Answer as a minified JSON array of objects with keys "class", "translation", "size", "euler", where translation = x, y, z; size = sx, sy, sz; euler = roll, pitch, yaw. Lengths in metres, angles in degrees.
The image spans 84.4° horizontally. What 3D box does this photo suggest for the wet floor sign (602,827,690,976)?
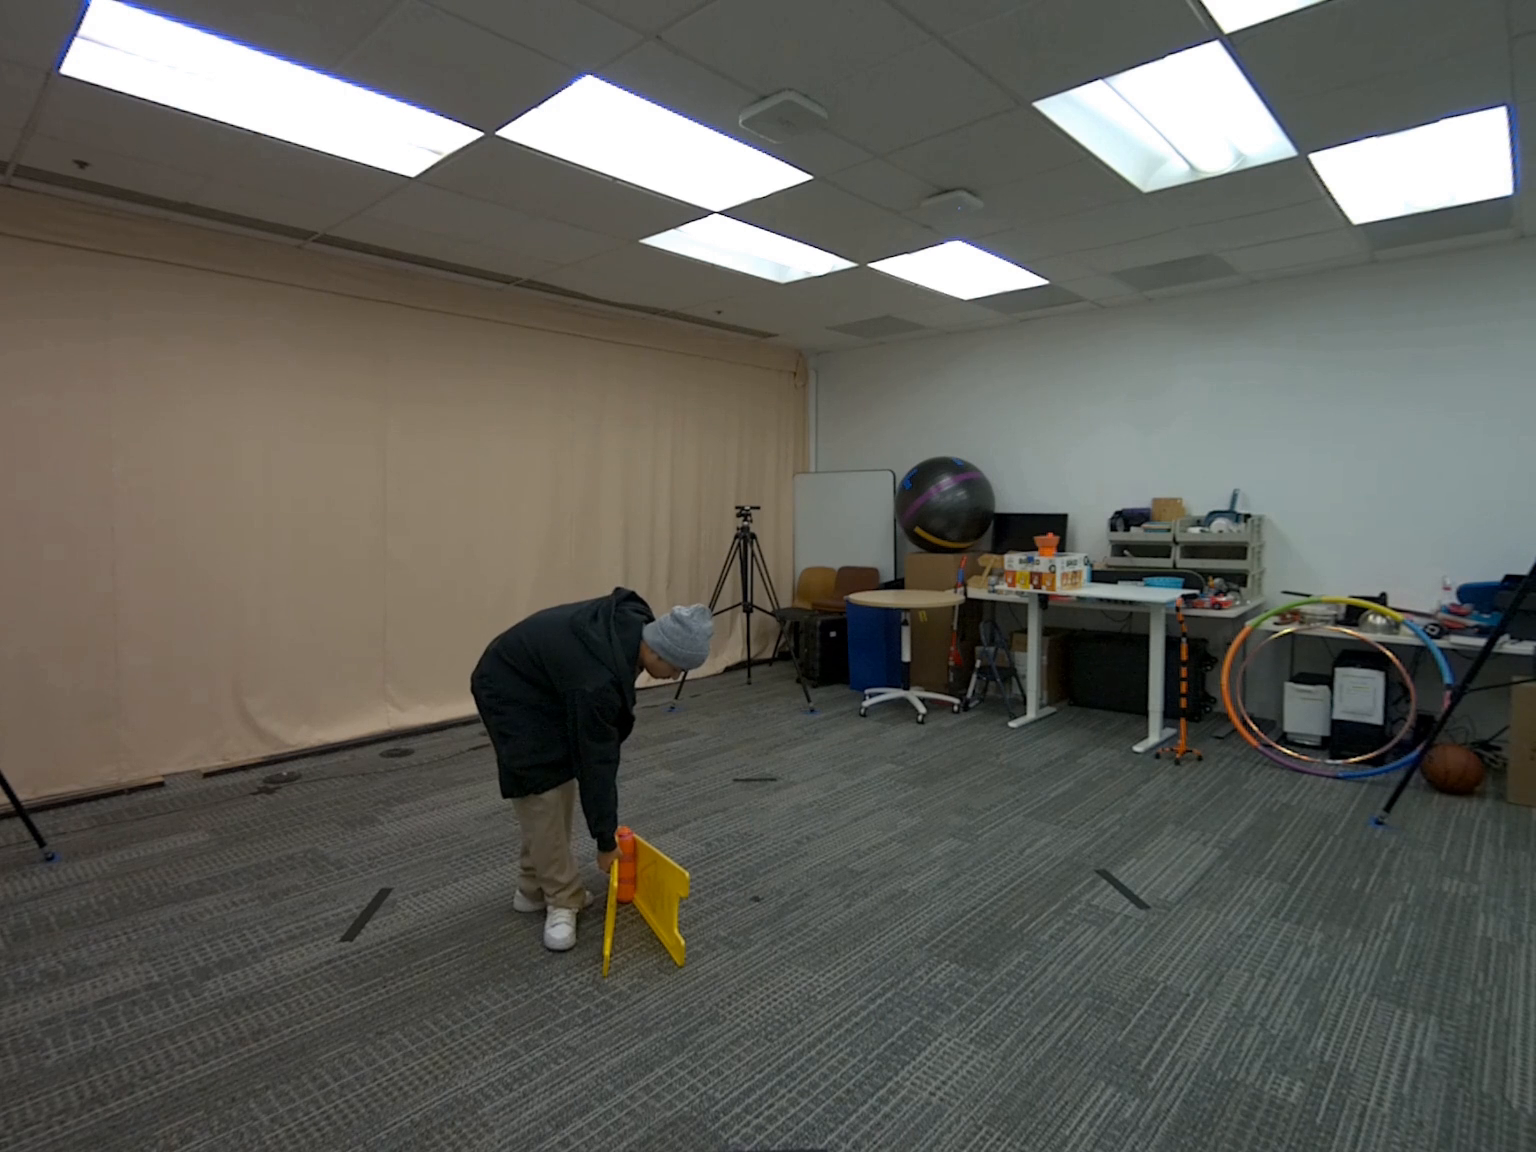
[{"class":"wet floor sign","translation":[-0.465,1.034,2.823],"size":[0.285,0.282,0.657],"euler":[1,0,-17]}]
